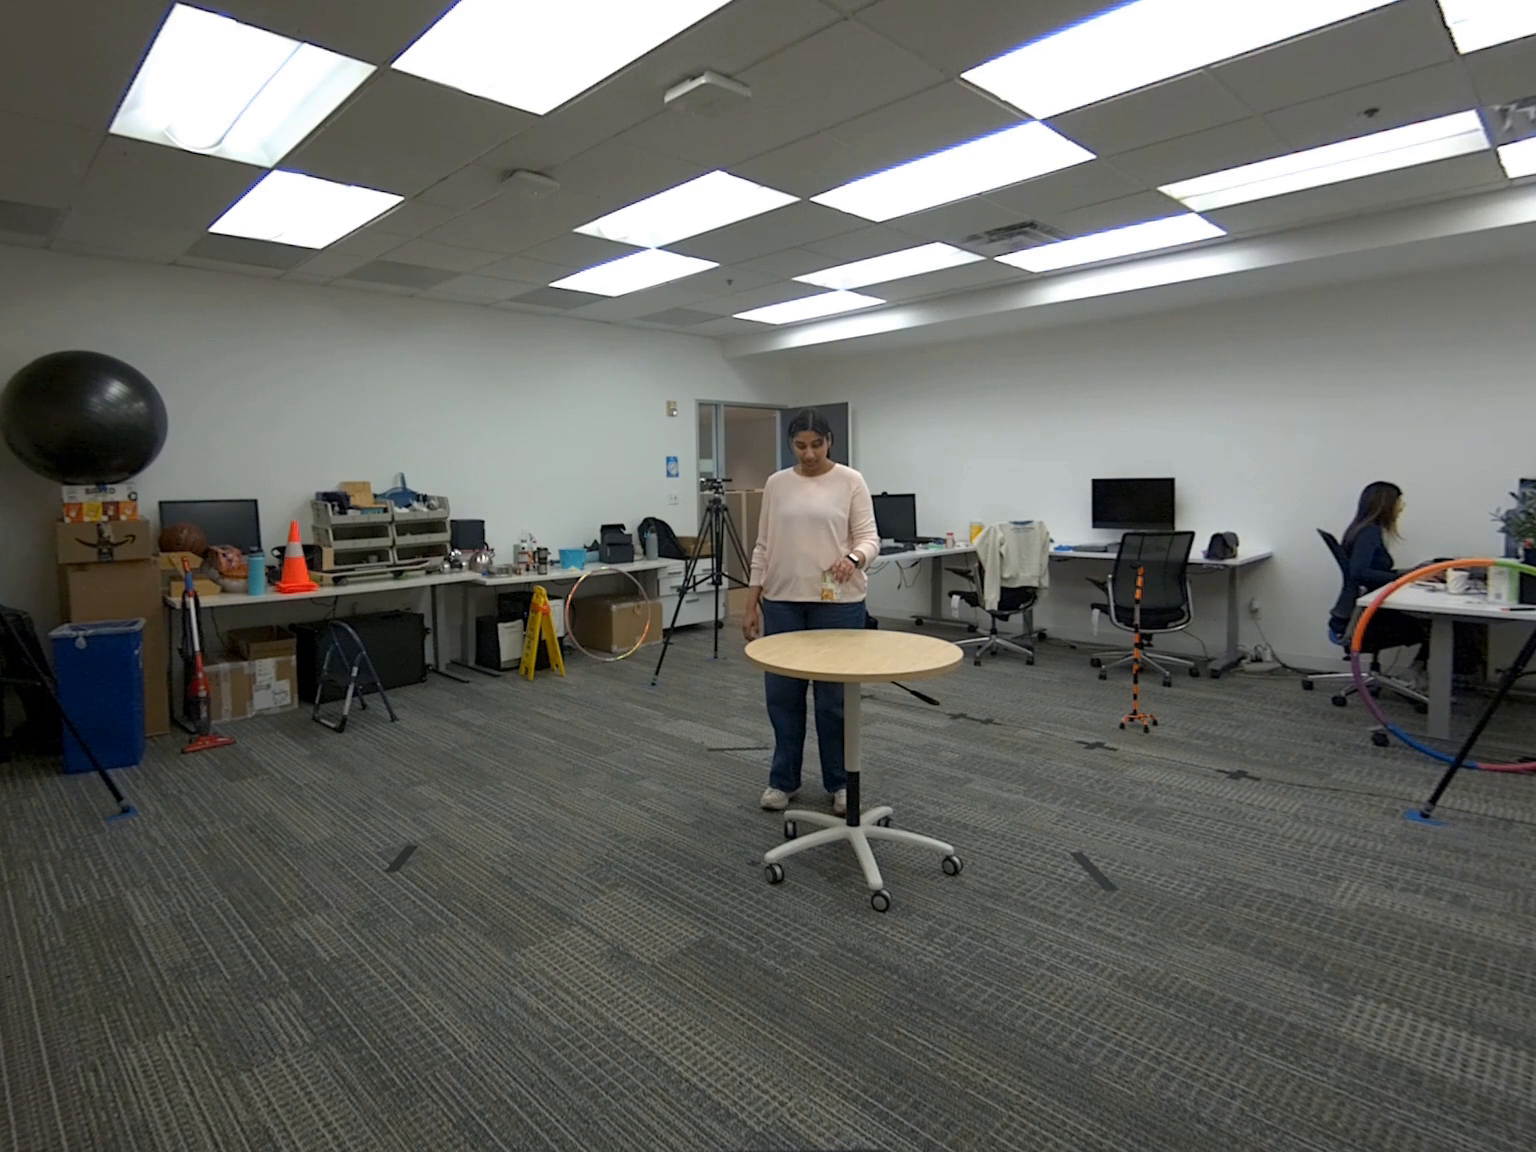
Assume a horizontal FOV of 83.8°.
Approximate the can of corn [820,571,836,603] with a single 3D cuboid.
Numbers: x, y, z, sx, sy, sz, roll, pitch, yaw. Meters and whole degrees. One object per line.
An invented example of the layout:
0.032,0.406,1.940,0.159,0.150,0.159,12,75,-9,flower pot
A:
0.239,0.039,3.257,0.074,0.111,0.074,-1,-1,-2,can of corn
